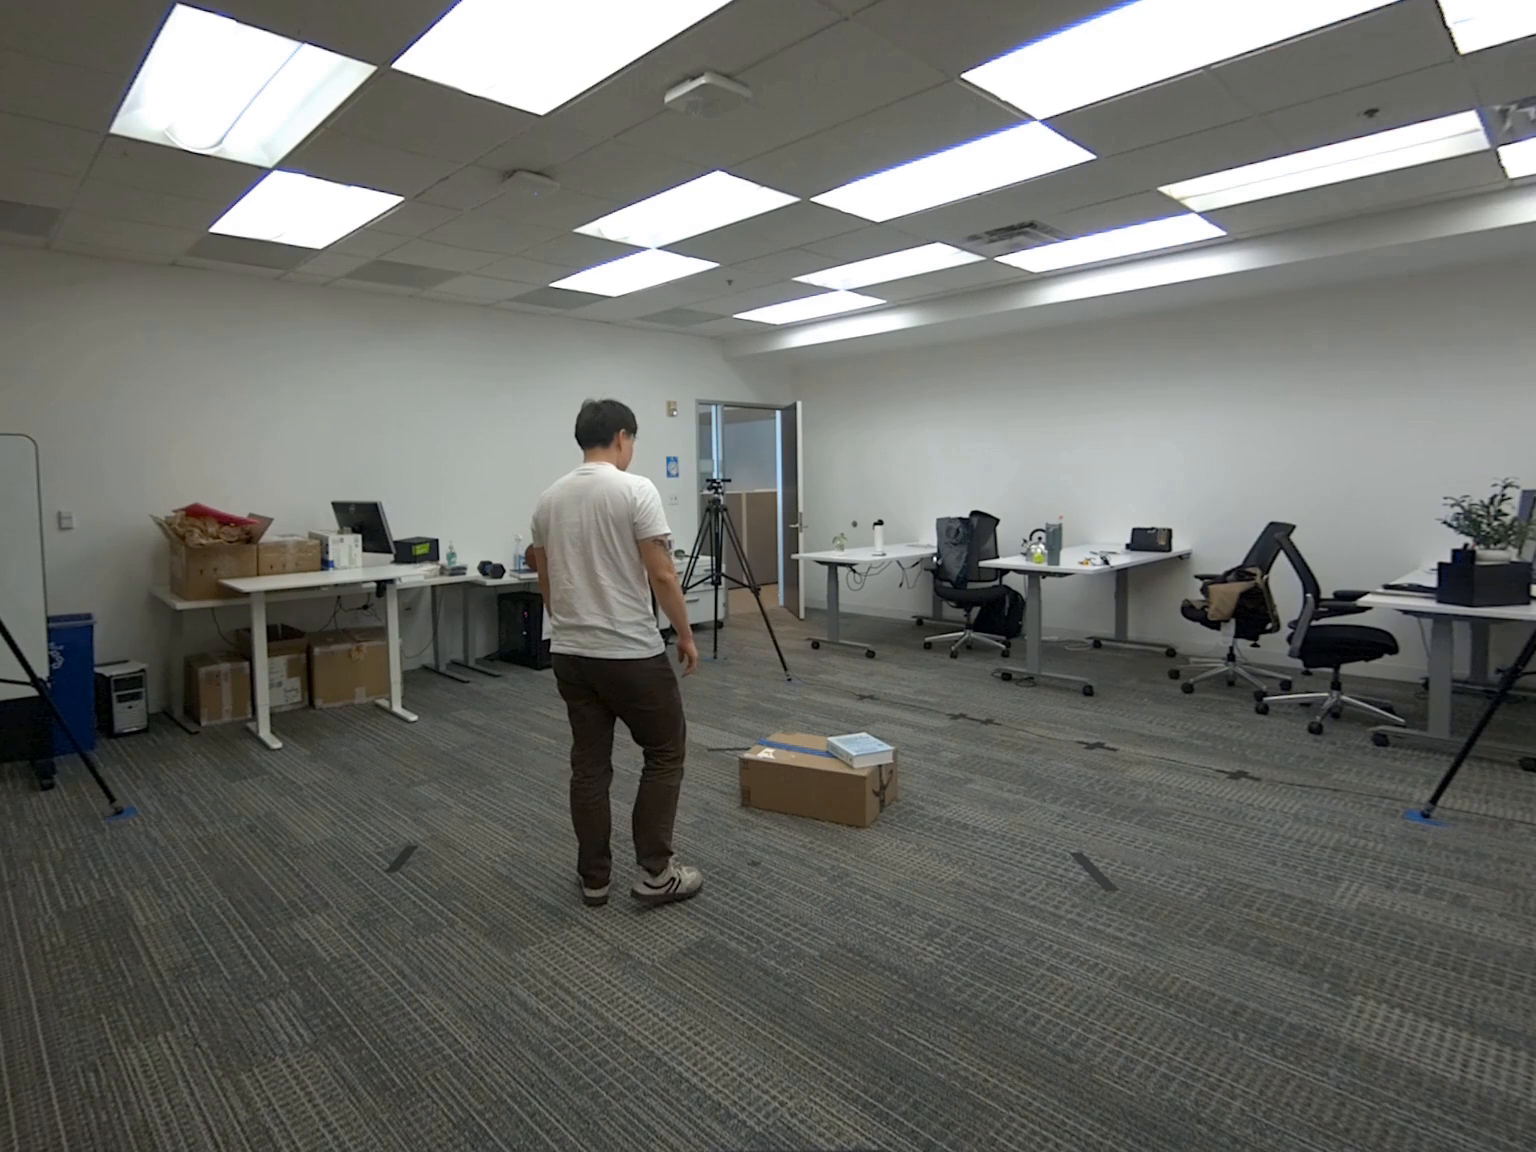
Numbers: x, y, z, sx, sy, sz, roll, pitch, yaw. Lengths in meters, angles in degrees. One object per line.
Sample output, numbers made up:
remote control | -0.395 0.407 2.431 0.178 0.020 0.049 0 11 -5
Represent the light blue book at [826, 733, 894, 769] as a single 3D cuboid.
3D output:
light blue book | 0.387 0.738 3.630 0.188 0.059 0.266 -4 6 -20
